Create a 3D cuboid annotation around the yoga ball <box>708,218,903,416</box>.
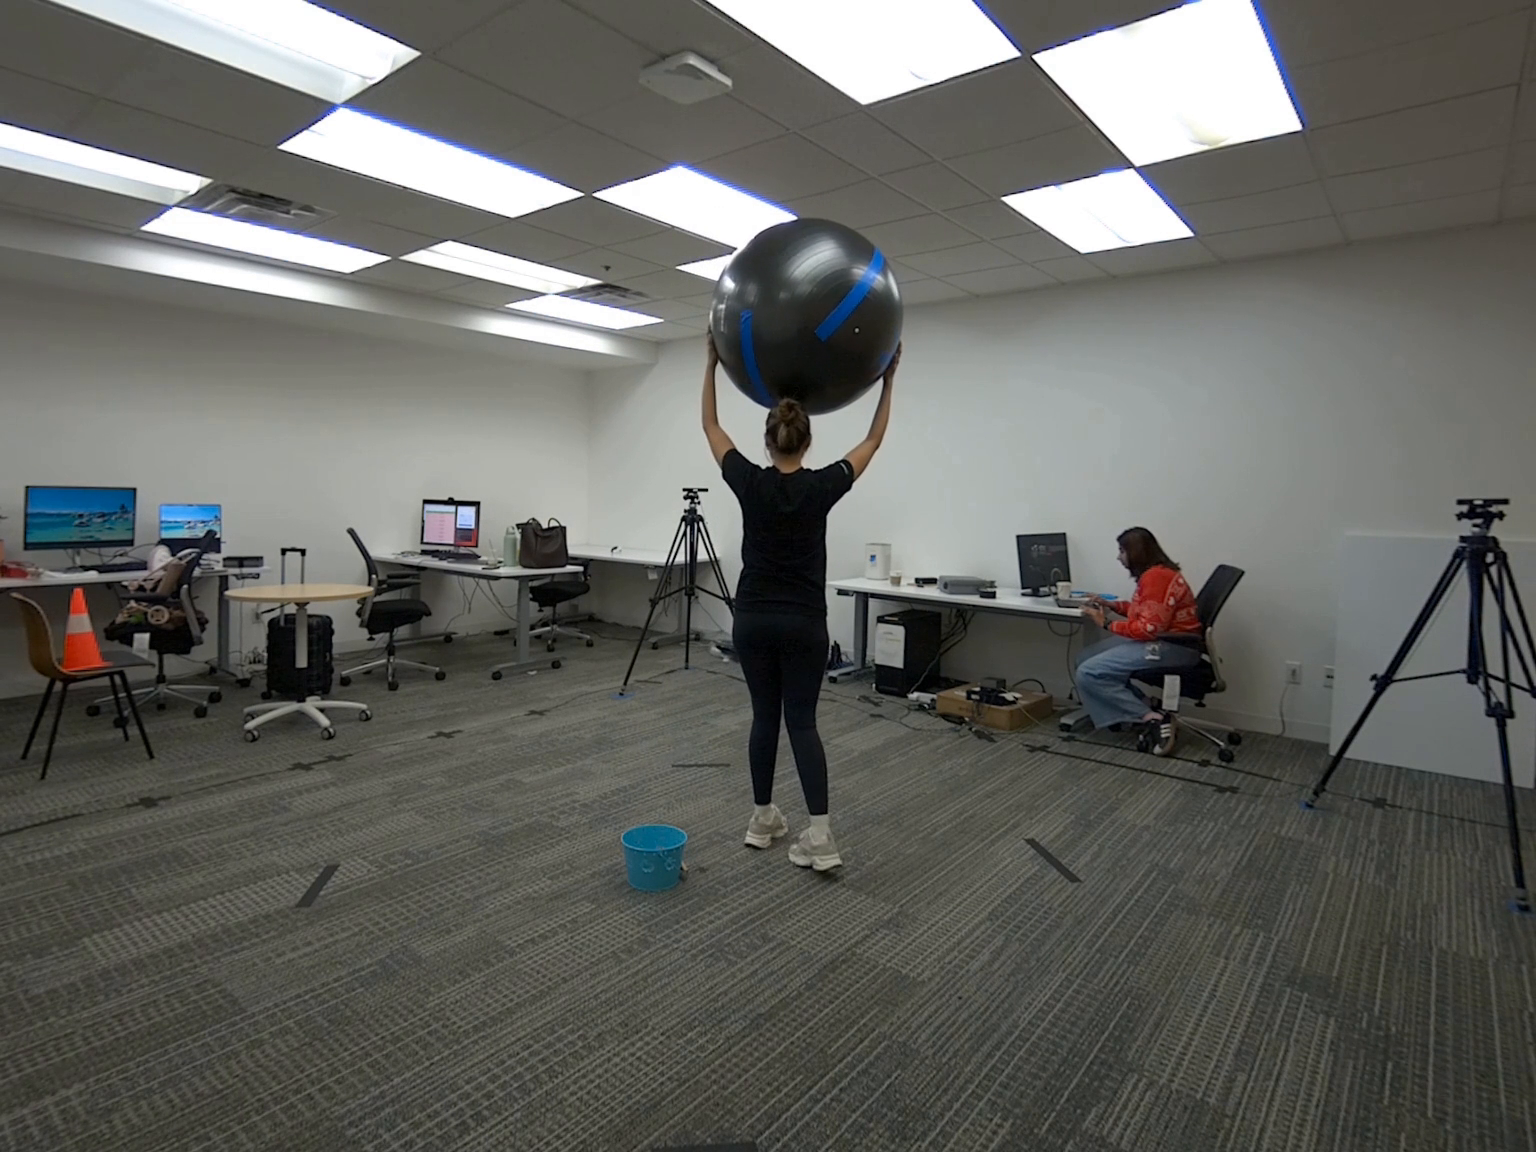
[{"bbox_3d":[0.137,-1.014,3.369,0.757,0.755,0.762,1,4,-2],"label":"yoga ball"}]
